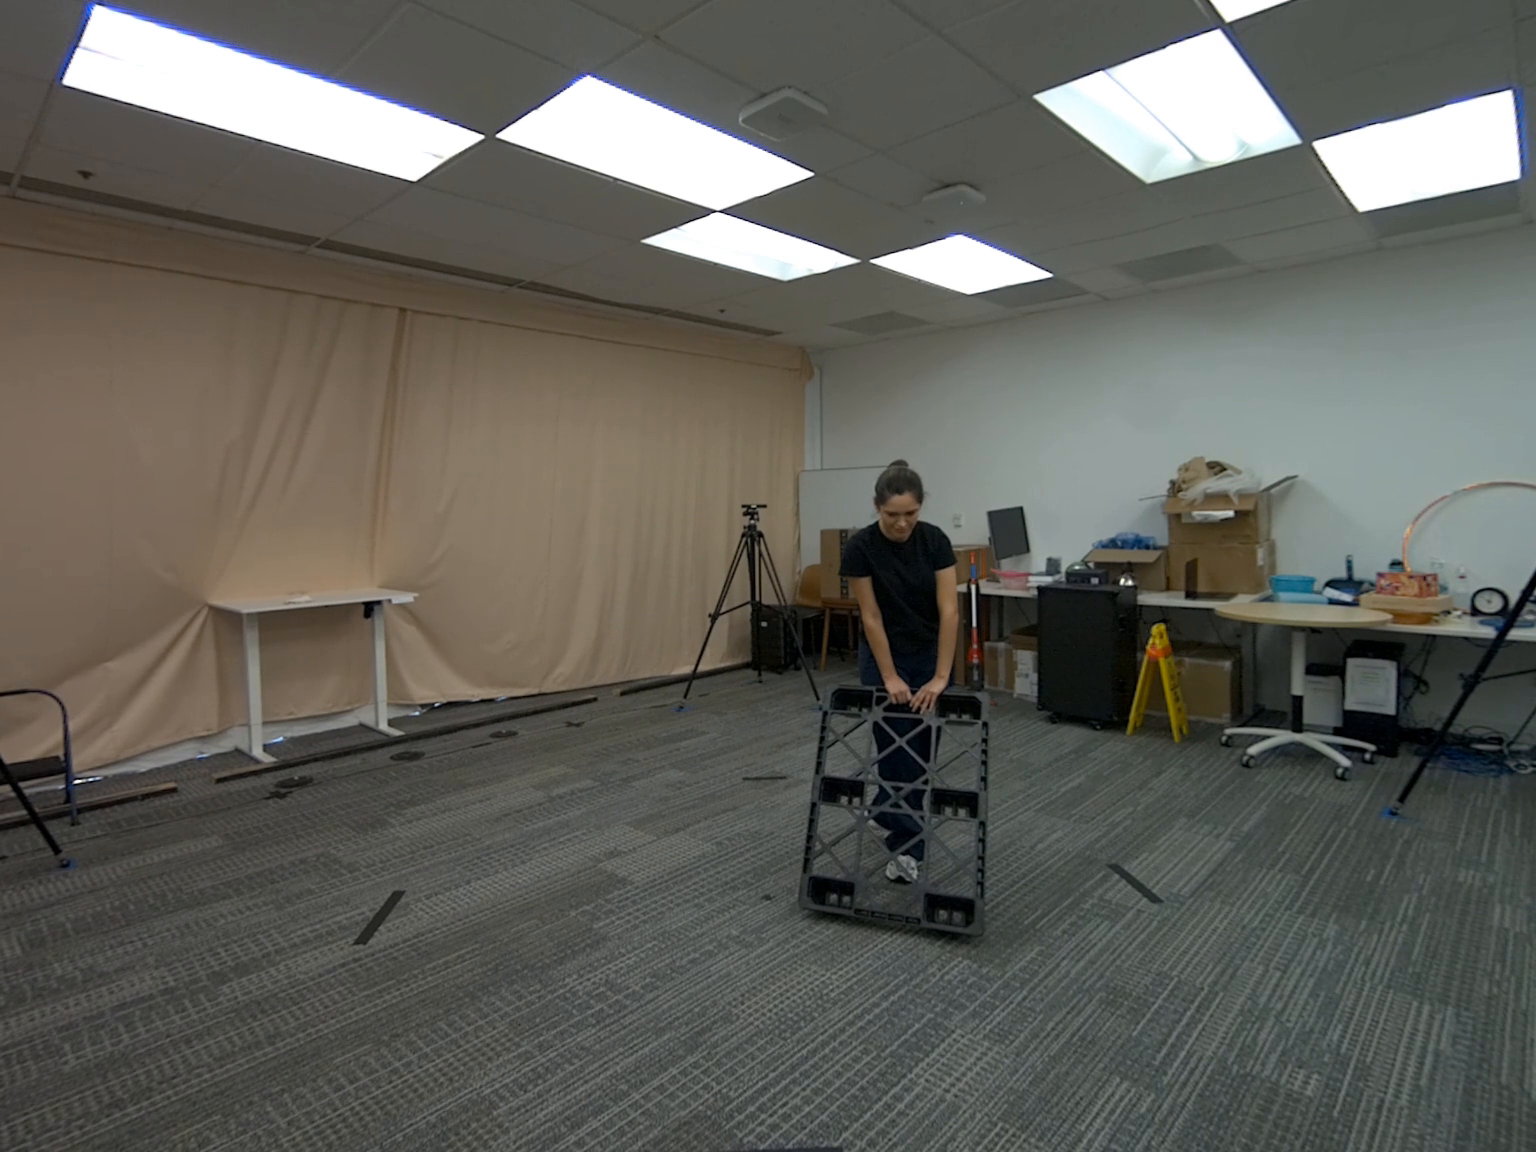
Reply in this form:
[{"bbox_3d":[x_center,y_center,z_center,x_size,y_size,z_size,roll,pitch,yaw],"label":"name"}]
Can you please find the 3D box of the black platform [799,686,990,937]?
[{"bbox_3d":[0.473,0.796,2.956,0.618,0.814,0.139,-1,-29,20],"label":"black platform"}]
